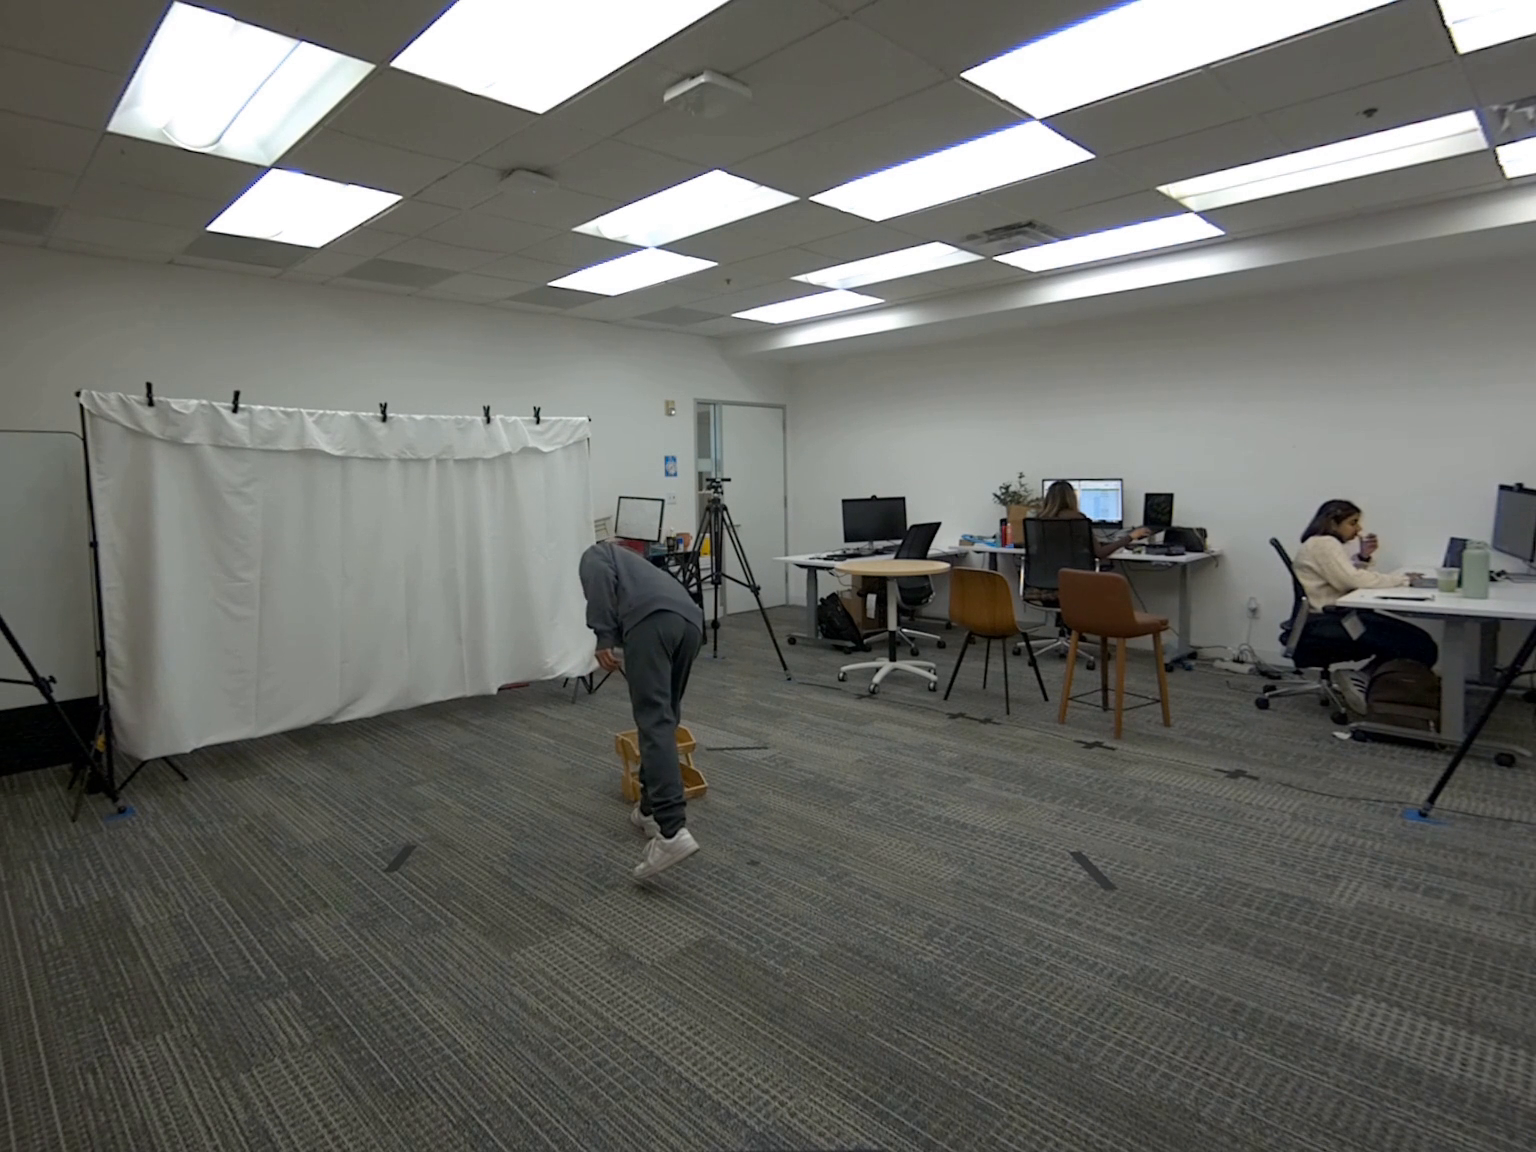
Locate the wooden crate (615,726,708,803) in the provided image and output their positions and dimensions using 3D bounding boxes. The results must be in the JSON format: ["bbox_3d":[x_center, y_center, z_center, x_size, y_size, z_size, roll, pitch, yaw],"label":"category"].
[{"bbox_3d":[-0.475,0.832,3.815,0.316,0.272,0.311,-4,6,-36],"label":"wooden crate"}]
